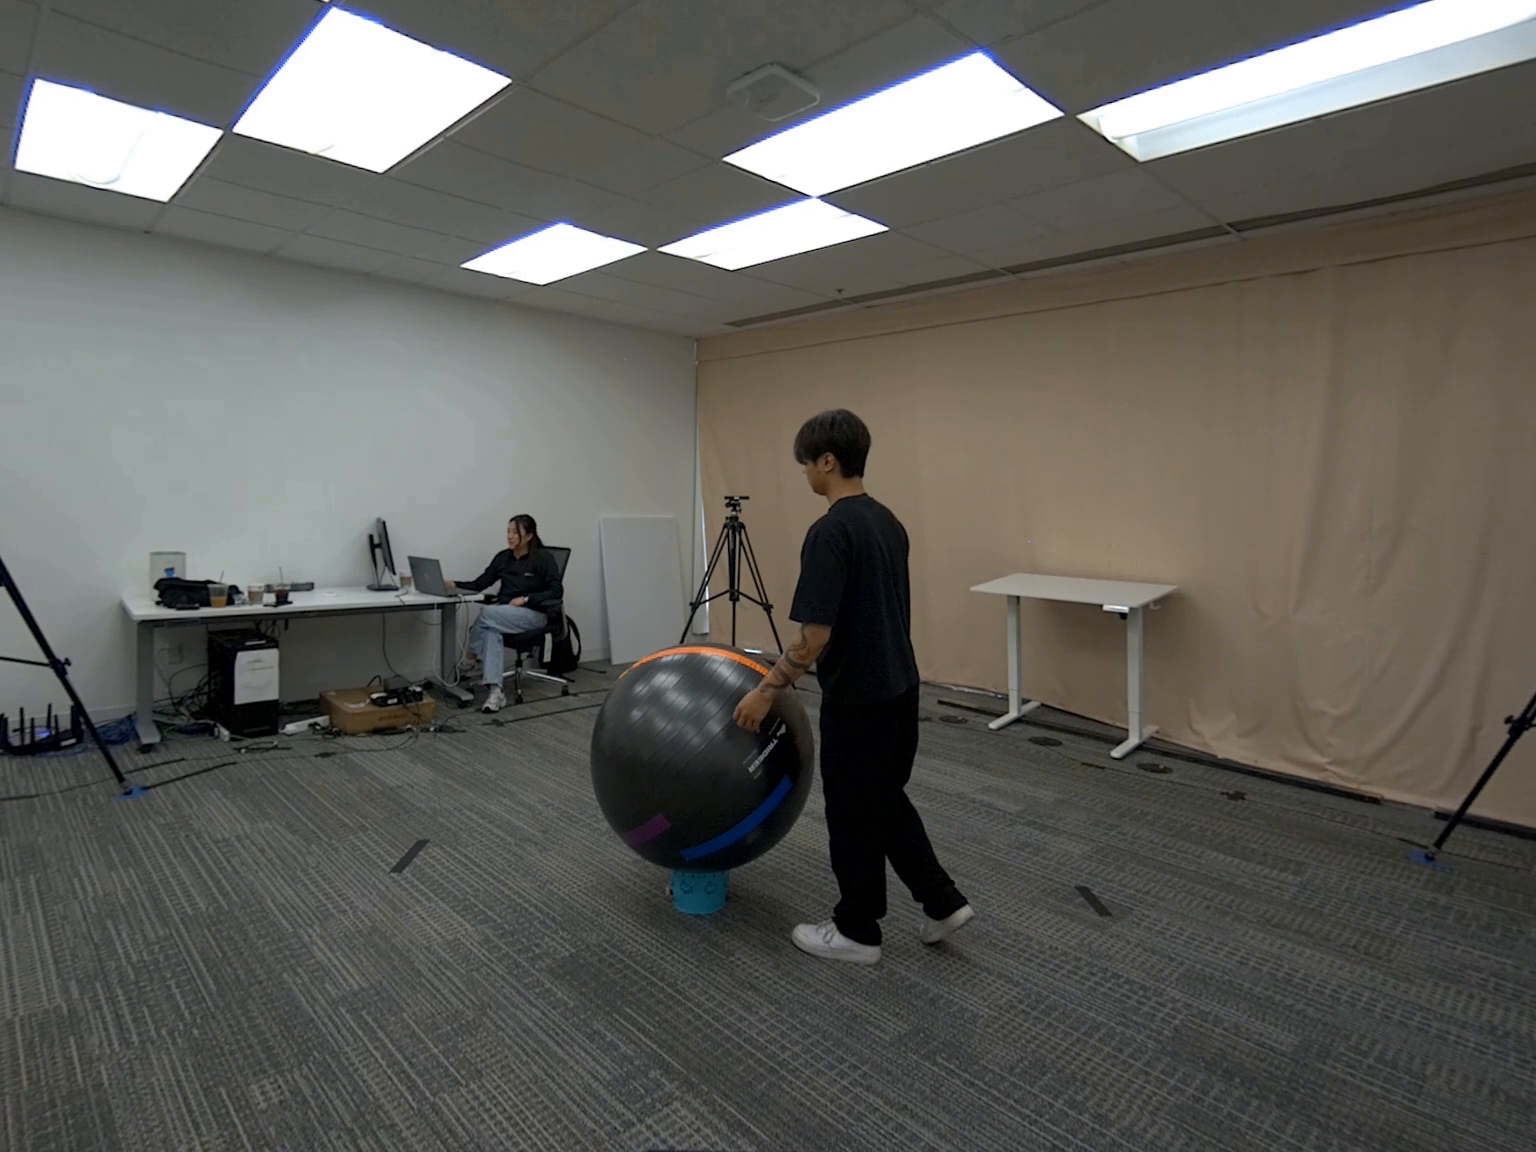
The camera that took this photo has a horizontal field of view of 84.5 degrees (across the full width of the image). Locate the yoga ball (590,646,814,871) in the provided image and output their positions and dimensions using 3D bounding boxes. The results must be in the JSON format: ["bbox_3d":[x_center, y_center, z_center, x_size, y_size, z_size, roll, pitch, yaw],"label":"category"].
[{"bbox_3d":[-0.235,0.615,2.870,0.757,0.756,0.761,1,4,-1],"label":"yoga ball"}]
